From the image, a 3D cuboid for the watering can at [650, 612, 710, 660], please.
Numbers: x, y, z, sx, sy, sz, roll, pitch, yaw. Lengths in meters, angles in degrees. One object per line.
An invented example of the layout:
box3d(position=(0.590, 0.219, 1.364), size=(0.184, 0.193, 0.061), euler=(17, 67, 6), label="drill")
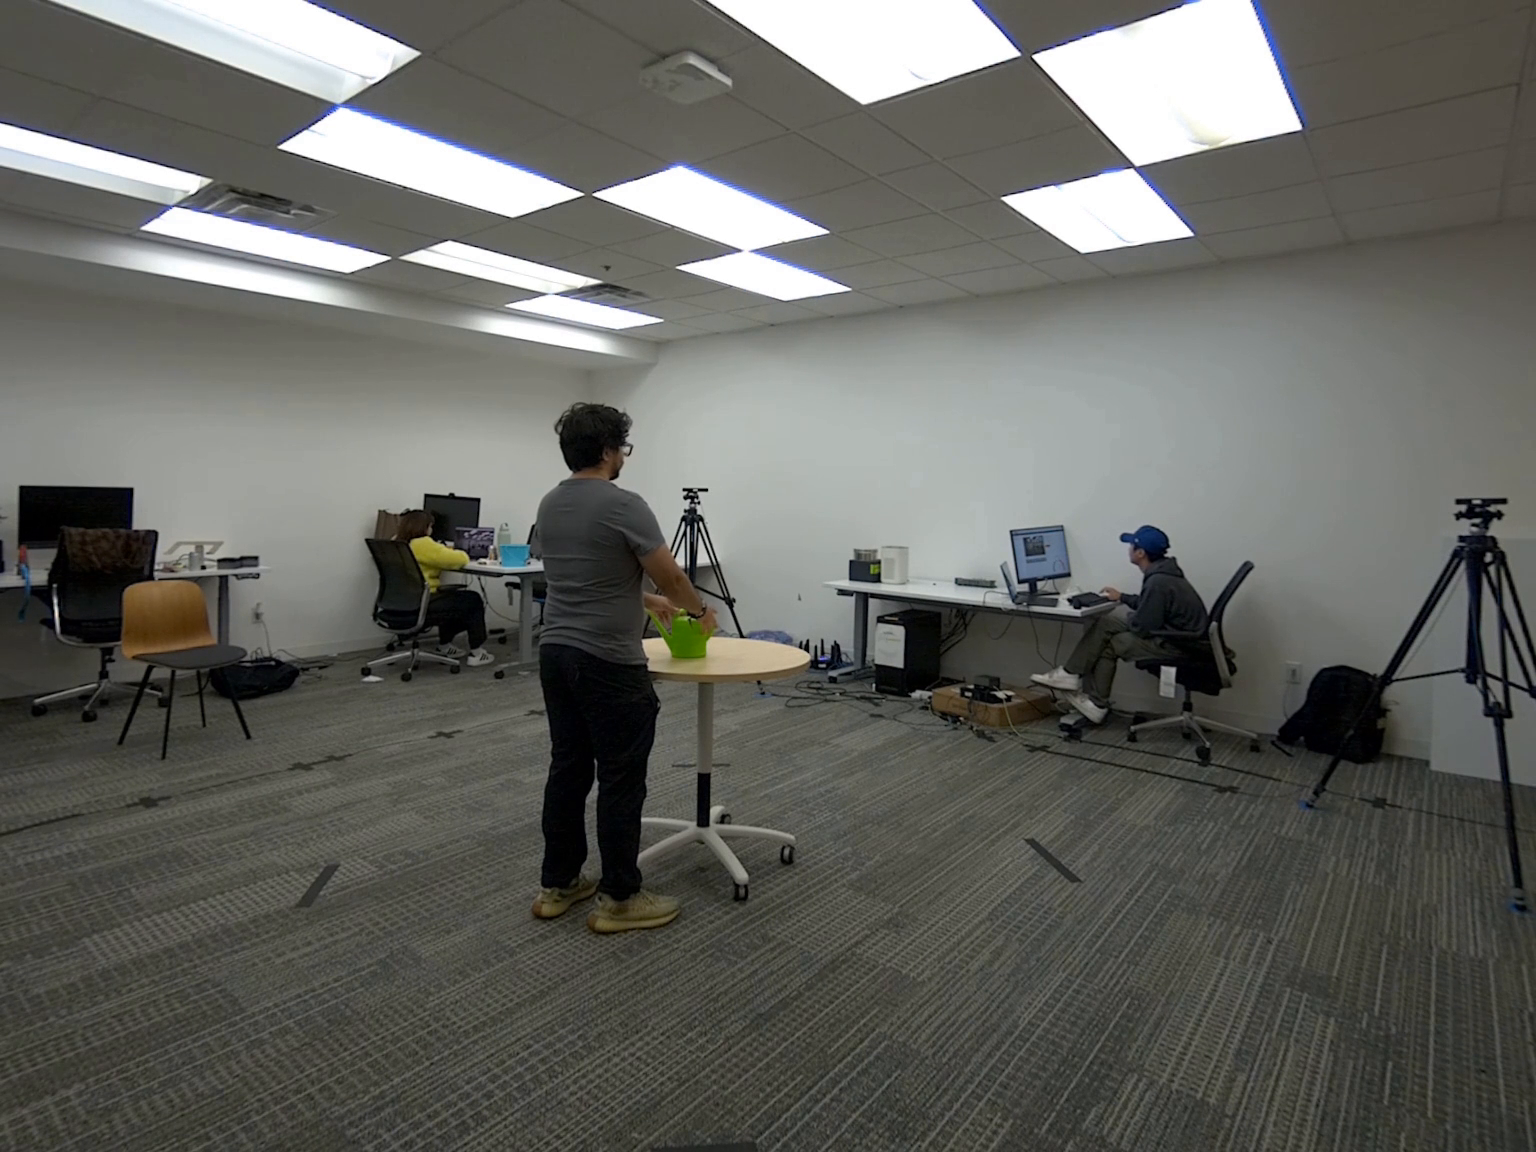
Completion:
box3d(position=(-0.339, 0.203, 3.084), size=(0.279, 0.176, 0.098), euler=(2, 3, 2), label="watering can")
